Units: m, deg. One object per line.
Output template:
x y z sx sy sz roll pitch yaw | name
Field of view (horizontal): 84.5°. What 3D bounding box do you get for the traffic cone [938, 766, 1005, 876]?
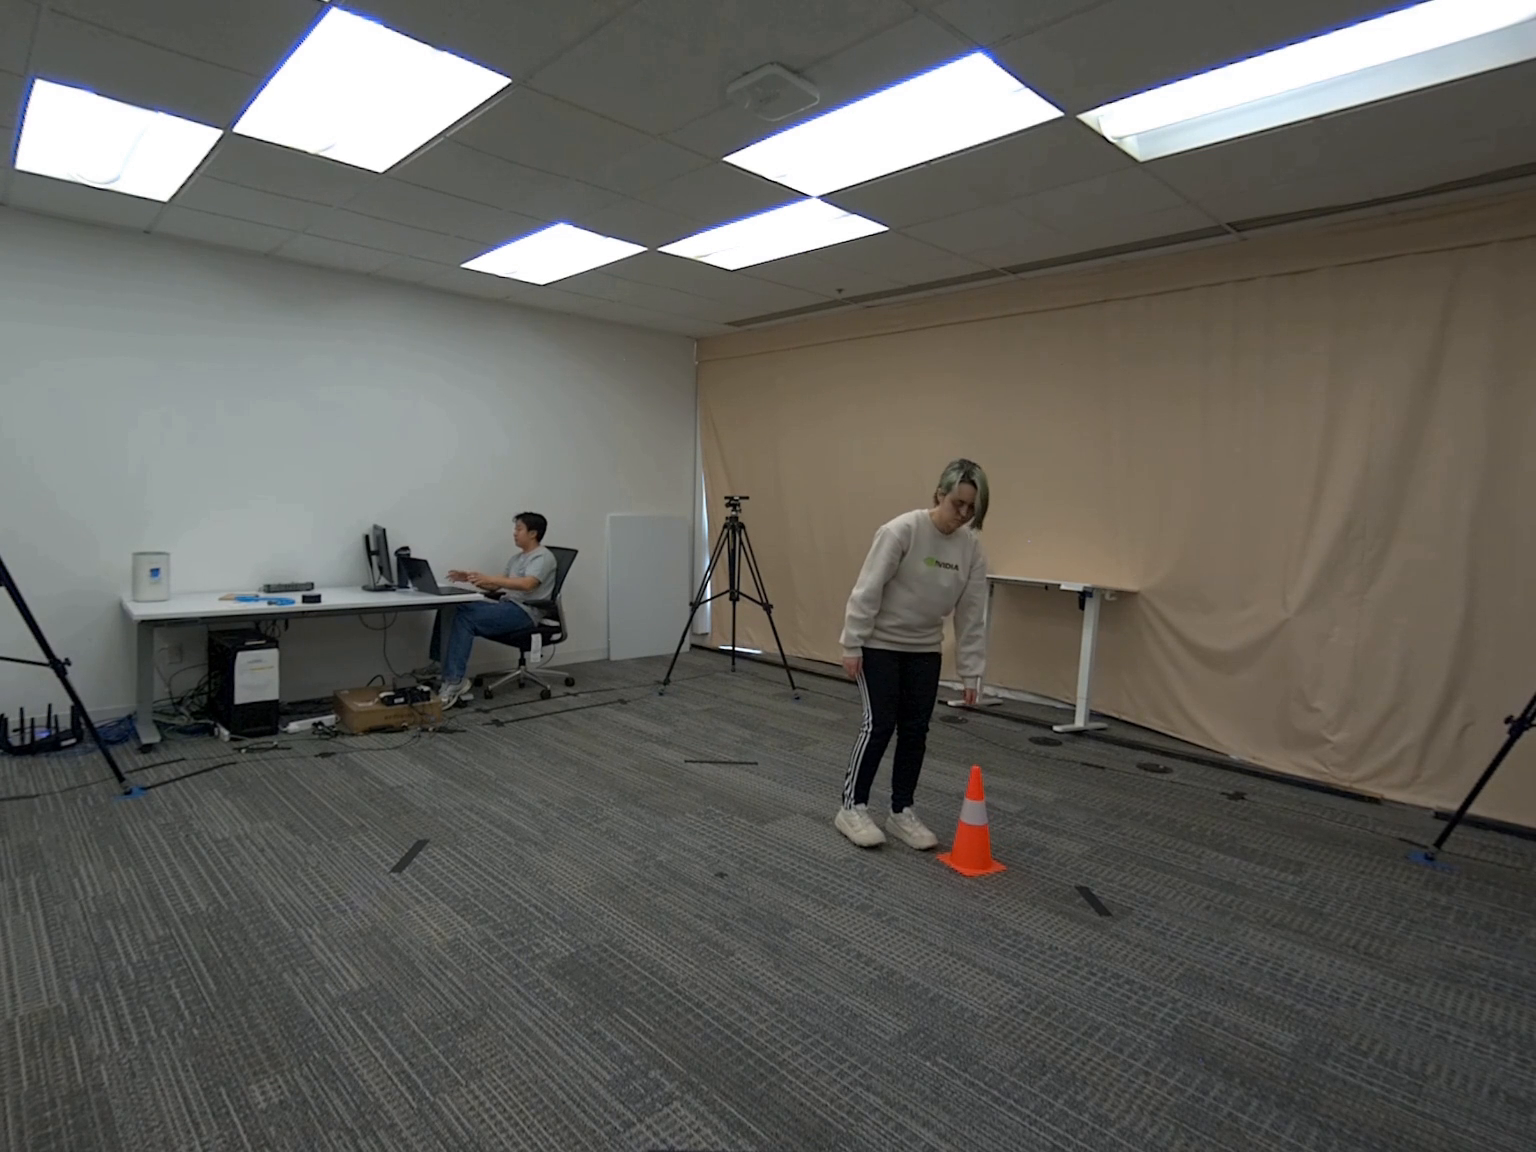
0.782 0.926 3.268 0.202 0.383 0.207 0 3 -20 | traffic cone
